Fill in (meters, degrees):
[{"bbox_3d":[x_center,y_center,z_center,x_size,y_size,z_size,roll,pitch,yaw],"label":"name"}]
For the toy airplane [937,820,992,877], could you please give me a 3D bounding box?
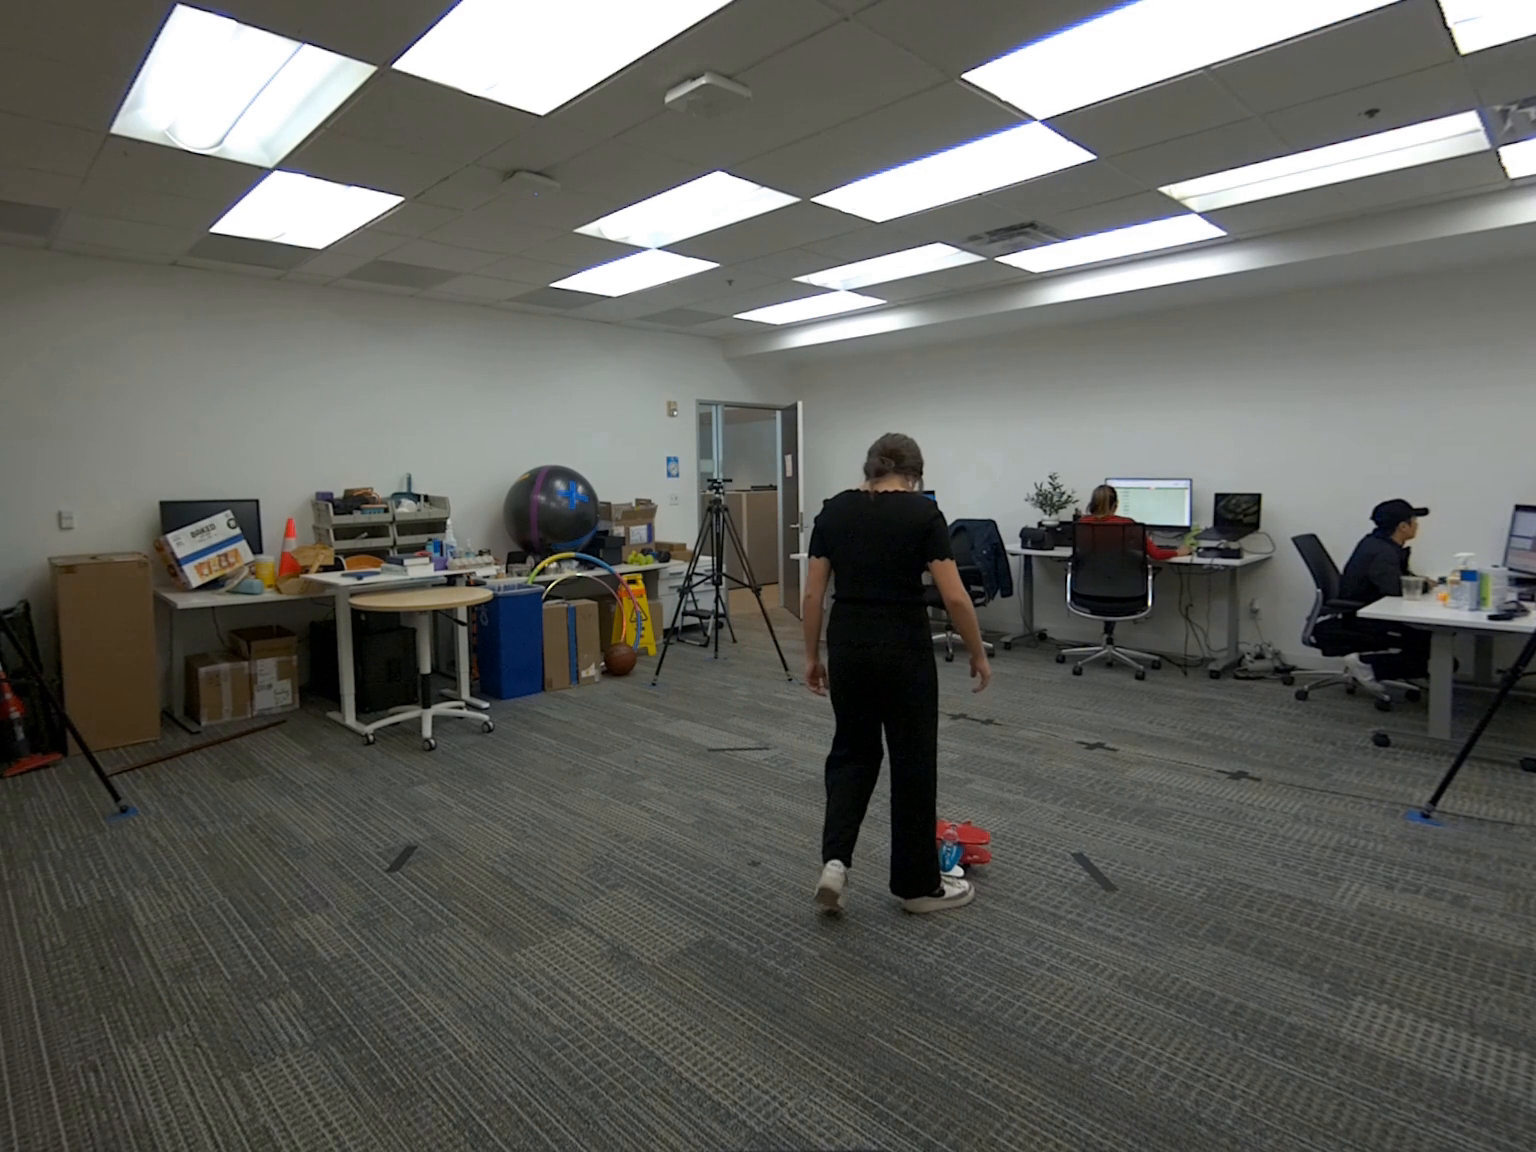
[{"bbox_3d":[0.663,0.971,2.990,0.250,0.156,0.261,-2,4,-5],"label":"toy airplane"}]
